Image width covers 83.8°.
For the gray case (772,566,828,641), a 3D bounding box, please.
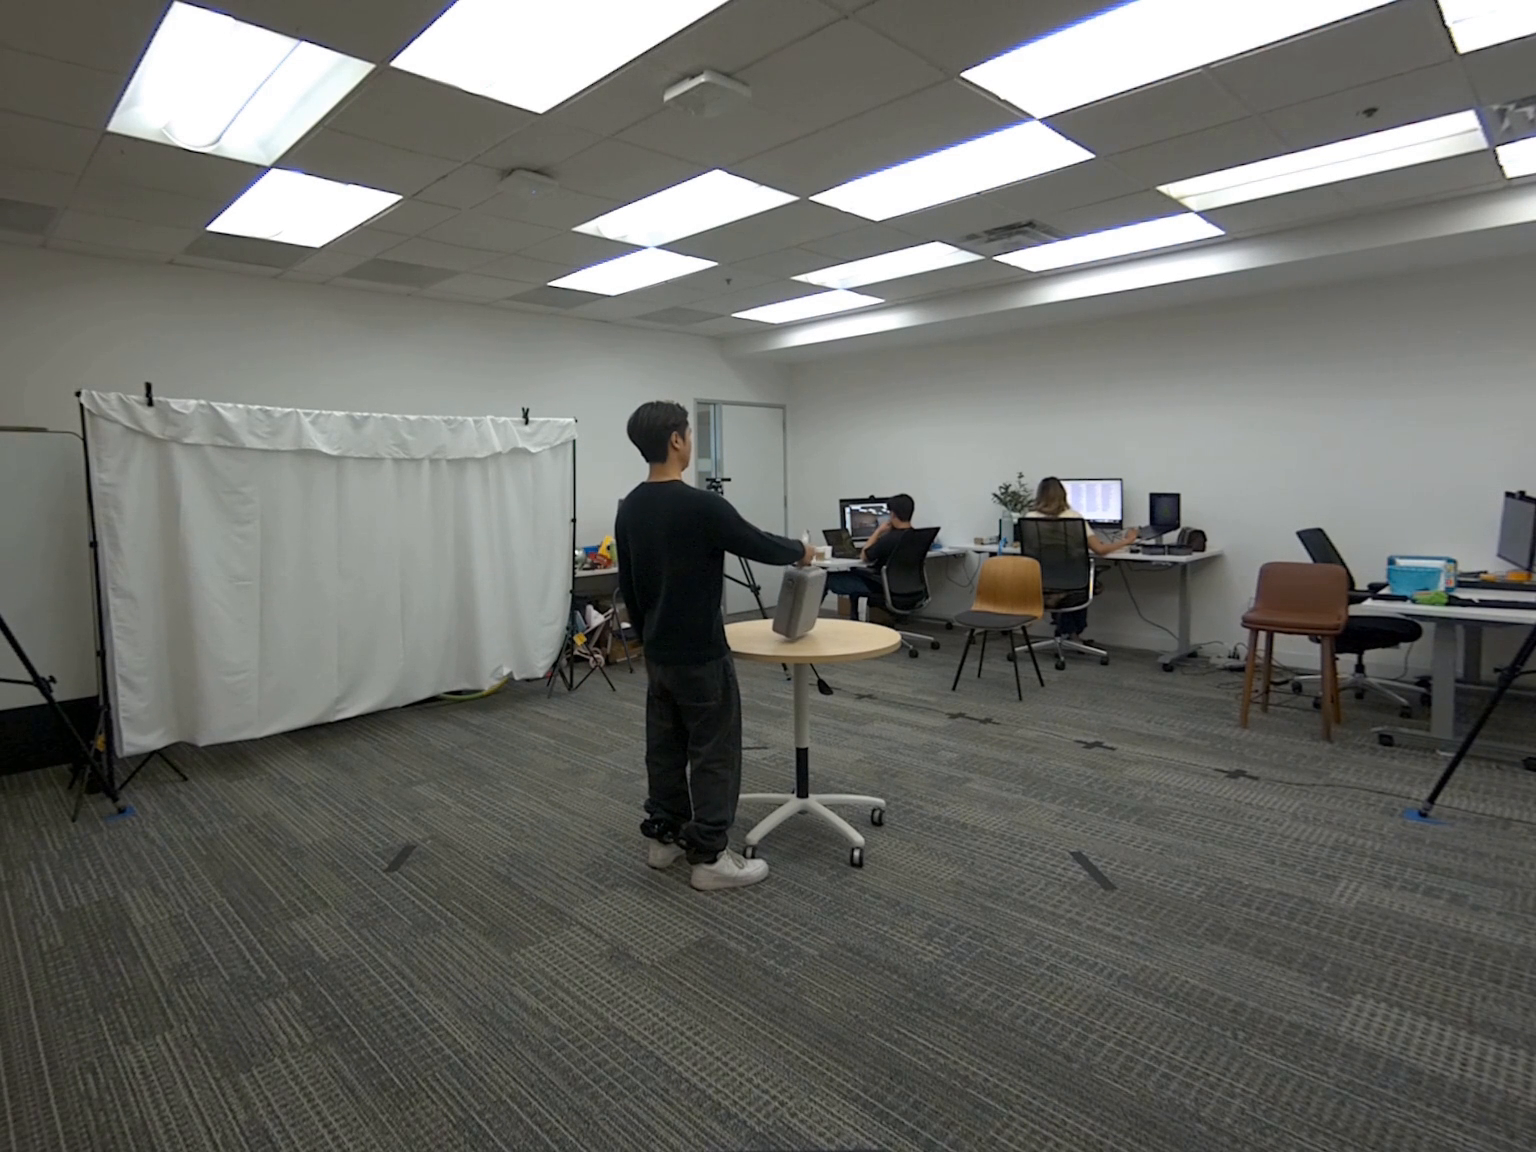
[{"bbox_3d":[0.131,0.086,3.243,0.106,0.259,0.253,12,8,18],"label":"gray case"}]
